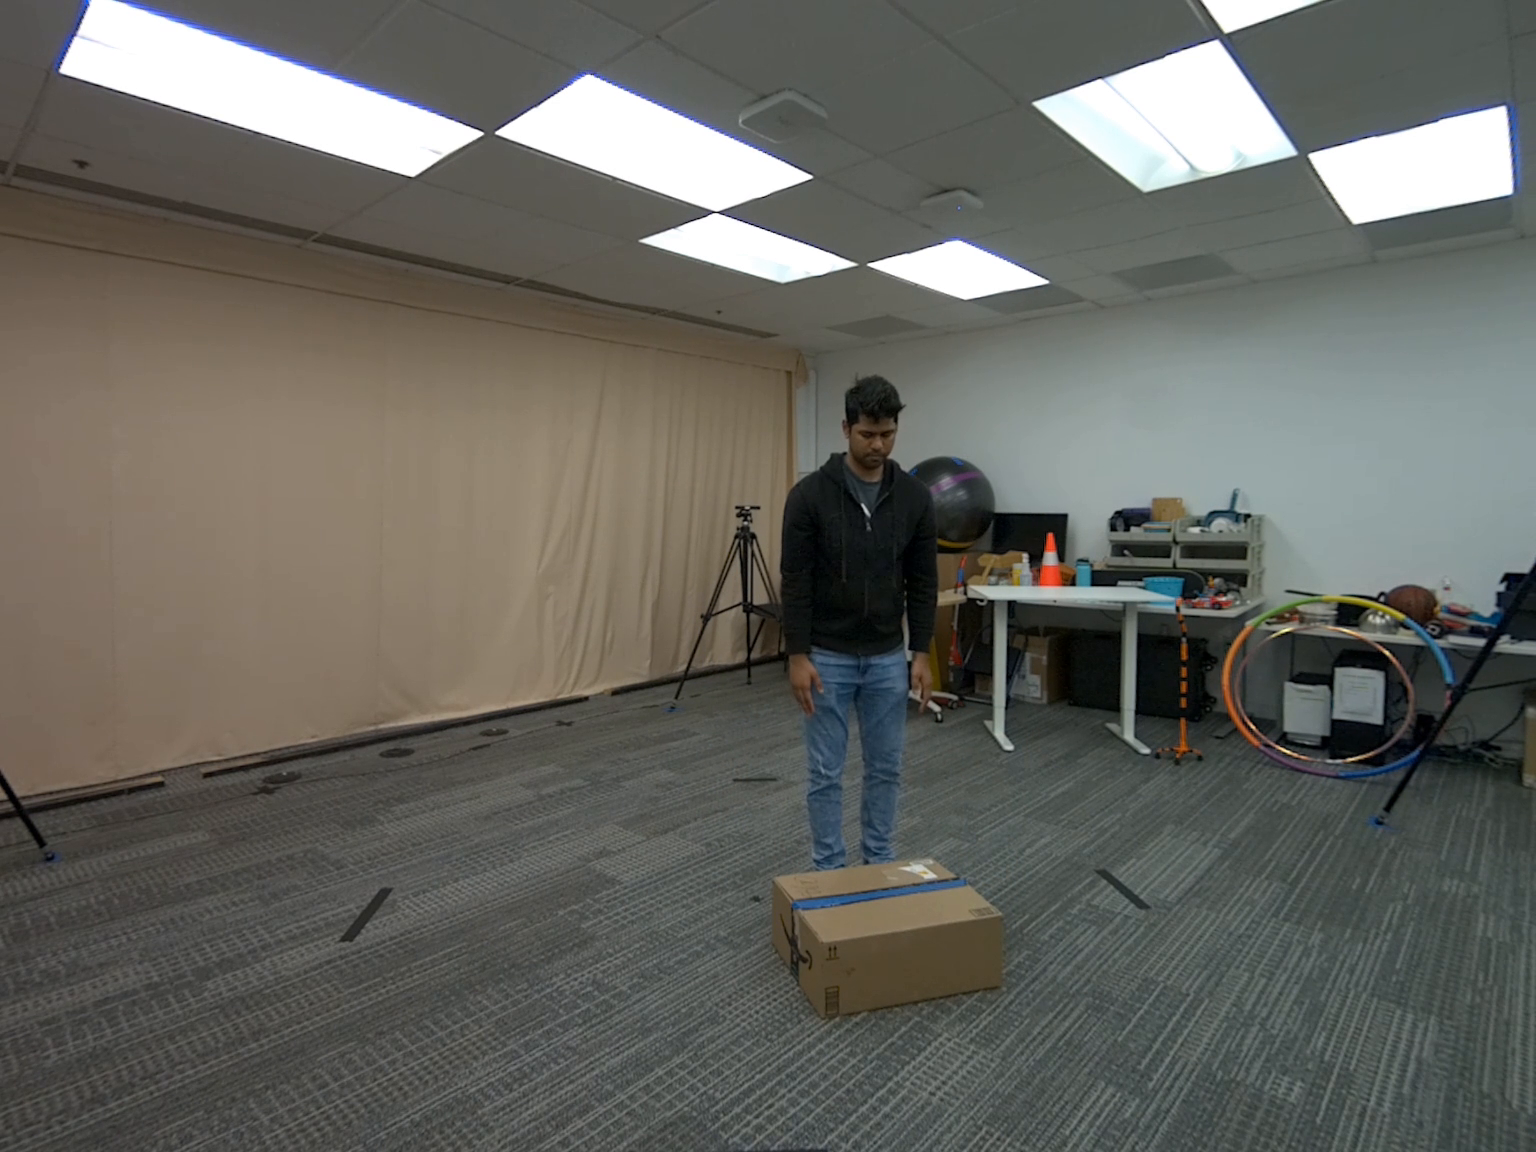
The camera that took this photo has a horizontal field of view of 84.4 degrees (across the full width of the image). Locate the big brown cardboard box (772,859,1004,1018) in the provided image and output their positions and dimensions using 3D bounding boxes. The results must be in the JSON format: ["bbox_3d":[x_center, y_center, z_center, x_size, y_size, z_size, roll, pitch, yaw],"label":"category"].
[{"bbox_3d":[0.354,1.070,2.544,0.579,0.232,0.426,-2,5,-17],"label":"big brown cardboard box"}]
